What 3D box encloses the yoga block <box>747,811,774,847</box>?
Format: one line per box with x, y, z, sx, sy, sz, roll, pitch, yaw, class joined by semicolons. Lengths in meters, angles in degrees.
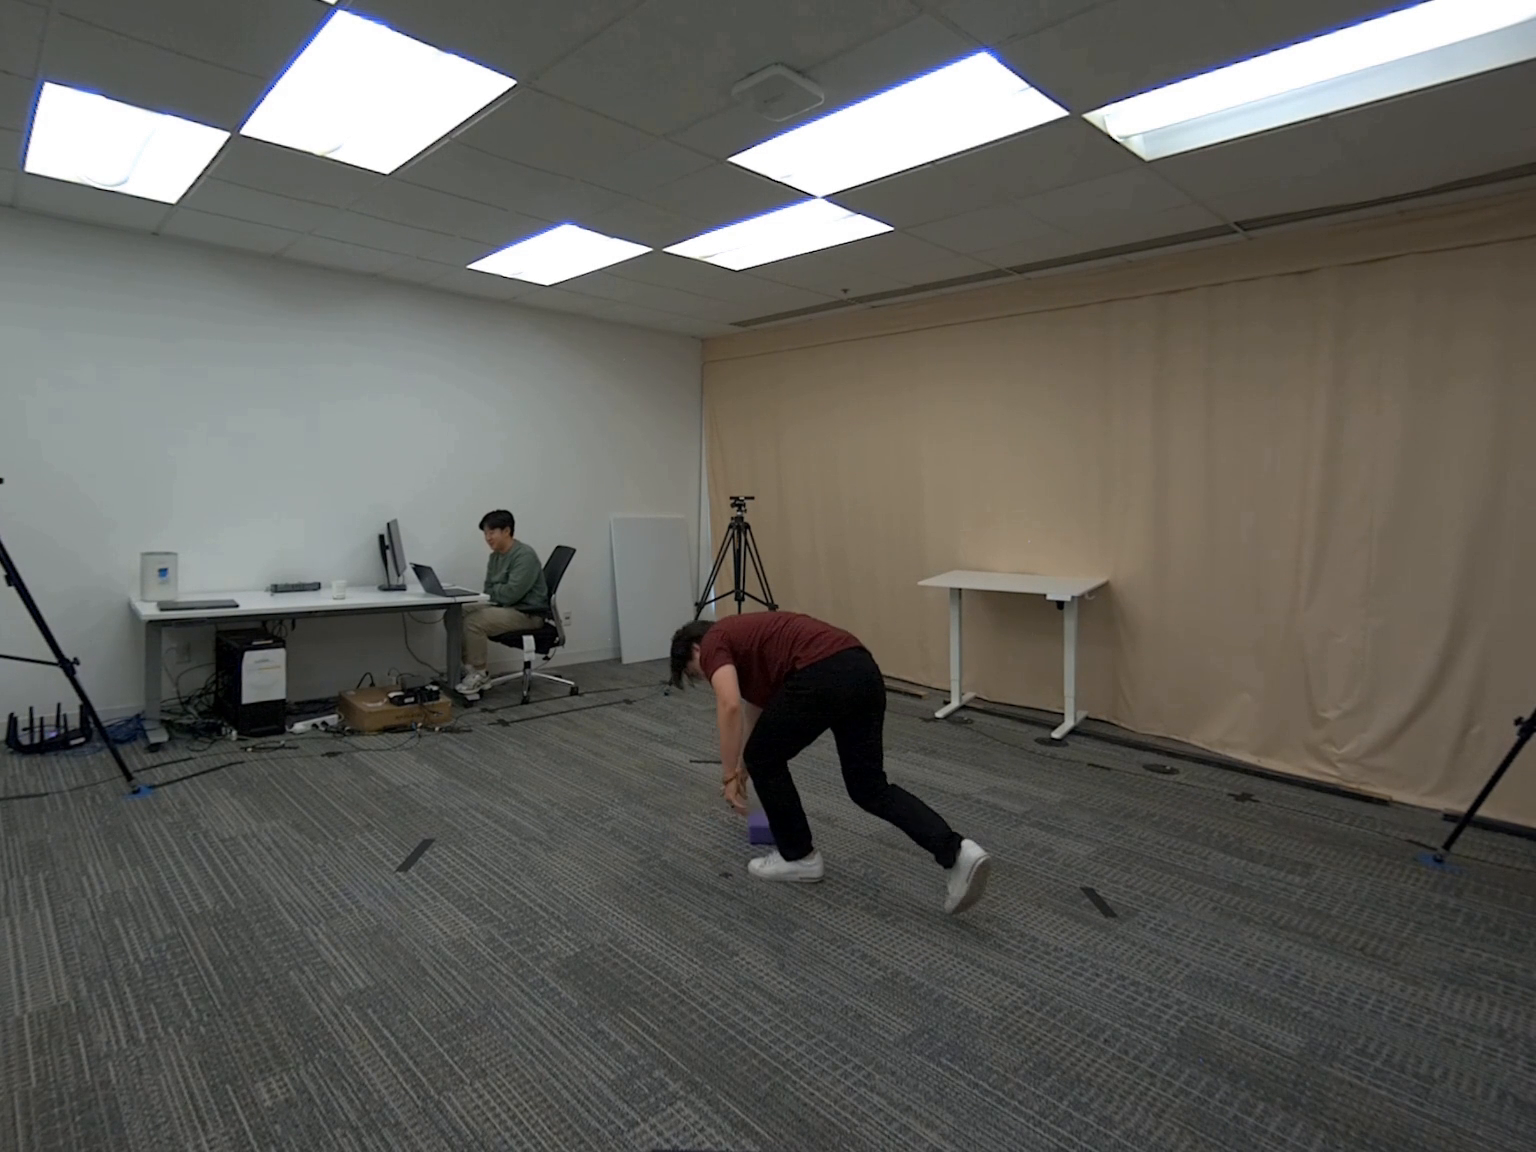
0.030;1.038;3.454;0.229;0.076;0.149;2;5;-1;yoga block
